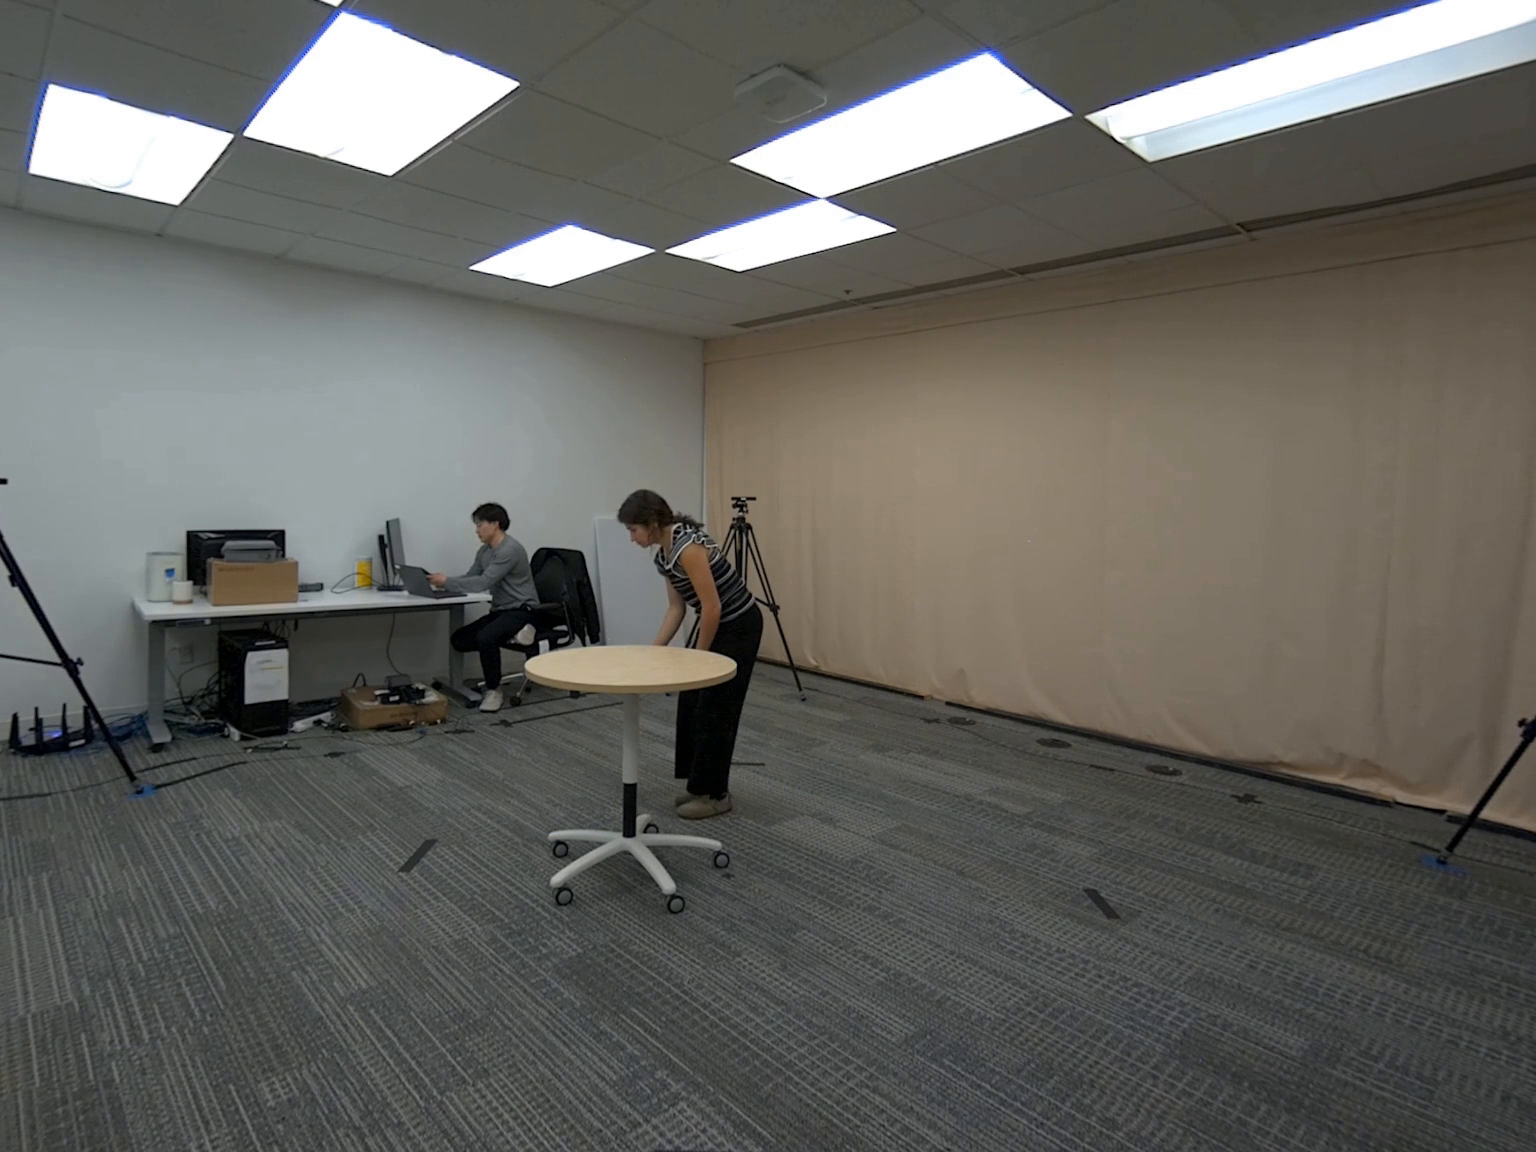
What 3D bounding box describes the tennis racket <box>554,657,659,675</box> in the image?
[{"bbox_3d":[-0.718,0.395,3.741,0.427,0.032,0.216,3,2,-15],"label":"tennis racket"}]
